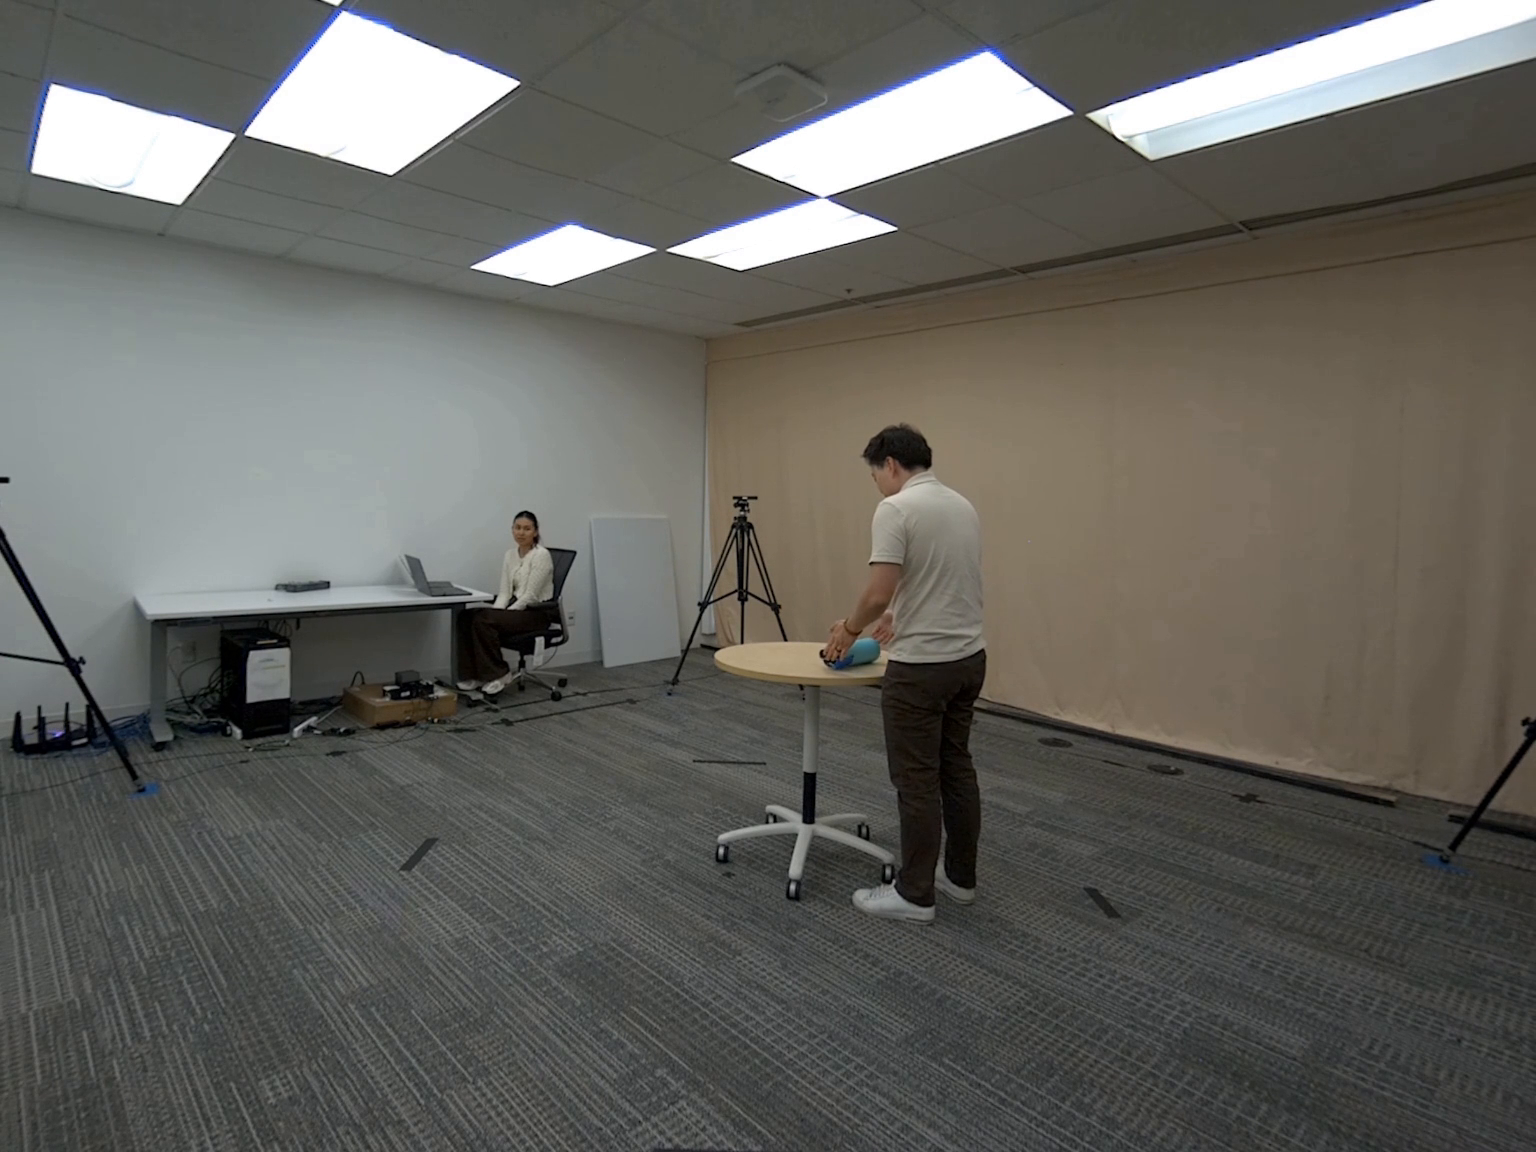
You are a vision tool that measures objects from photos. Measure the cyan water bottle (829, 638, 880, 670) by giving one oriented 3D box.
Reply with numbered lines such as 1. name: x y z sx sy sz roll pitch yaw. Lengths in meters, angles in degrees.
1. cyan water bottle: 0.293 0.283 3.090 0.094 0.092 0.277 5 5 40
